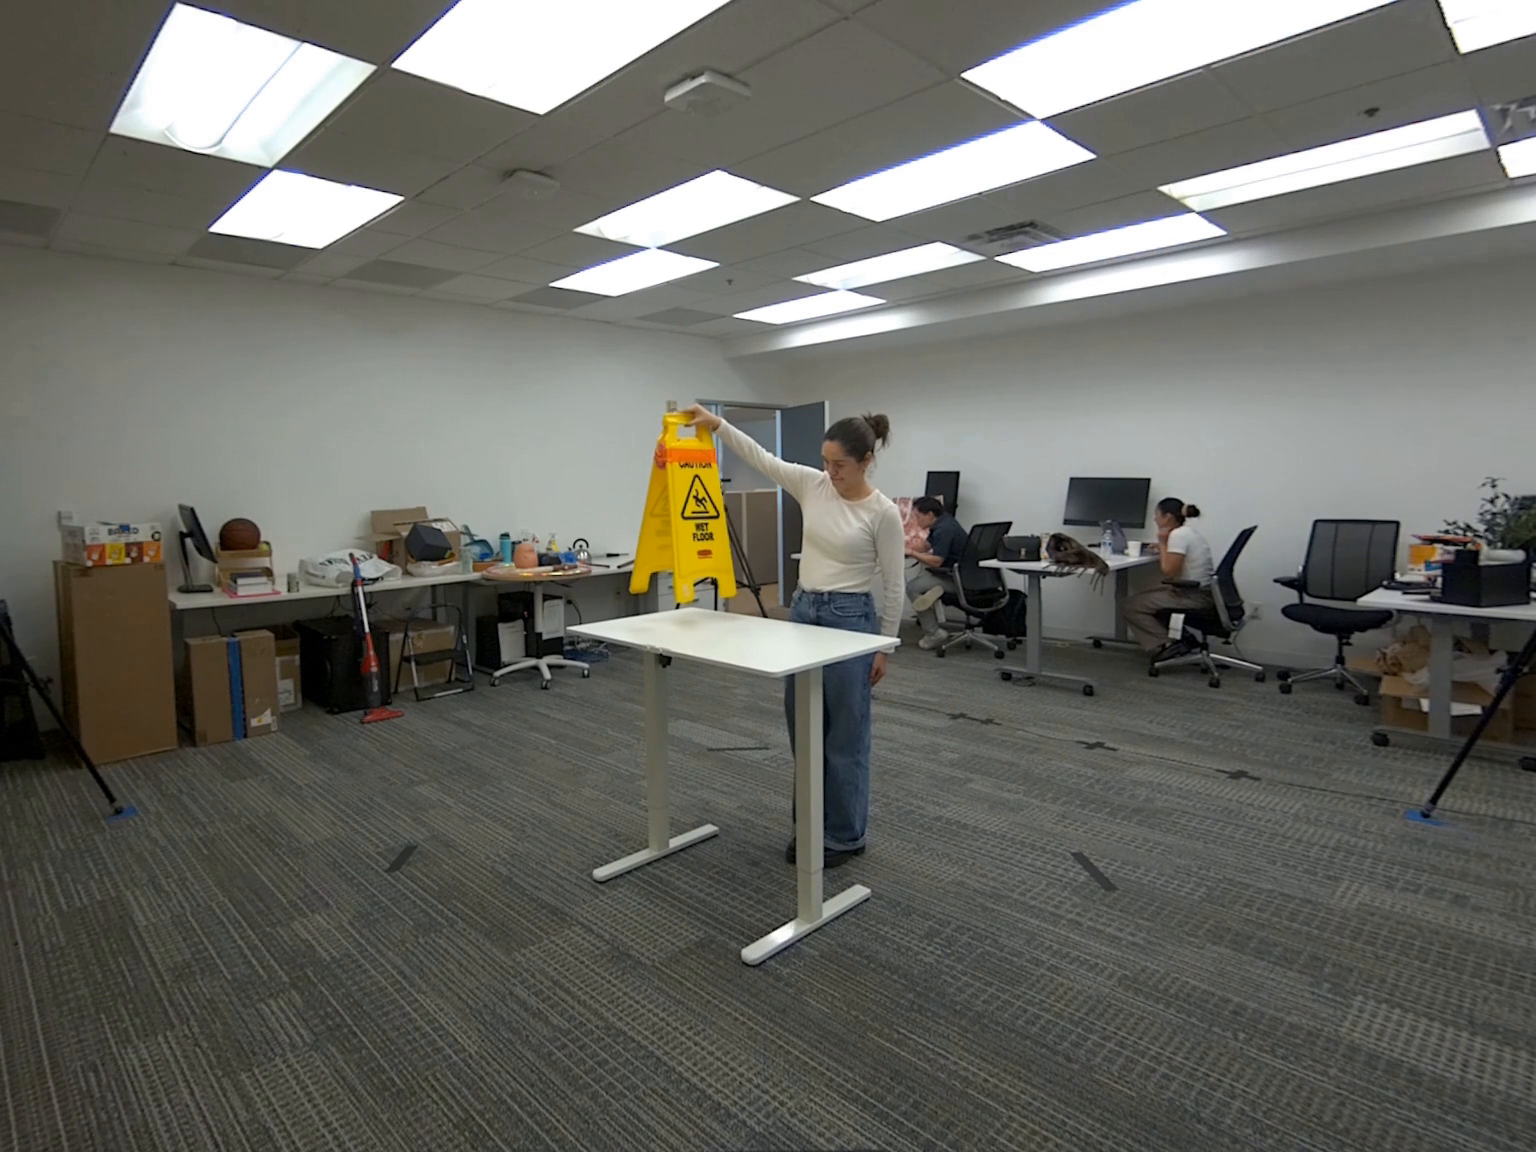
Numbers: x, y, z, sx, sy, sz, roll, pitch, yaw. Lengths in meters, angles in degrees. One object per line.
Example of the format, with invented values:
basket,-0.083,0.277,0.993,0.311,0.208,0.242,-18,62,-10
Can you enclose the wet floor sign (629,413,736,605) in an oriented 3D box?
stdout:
wet floor sign,-0.301,-0.254,3.072,0.274,0.644,0.299,-3,6,-44
